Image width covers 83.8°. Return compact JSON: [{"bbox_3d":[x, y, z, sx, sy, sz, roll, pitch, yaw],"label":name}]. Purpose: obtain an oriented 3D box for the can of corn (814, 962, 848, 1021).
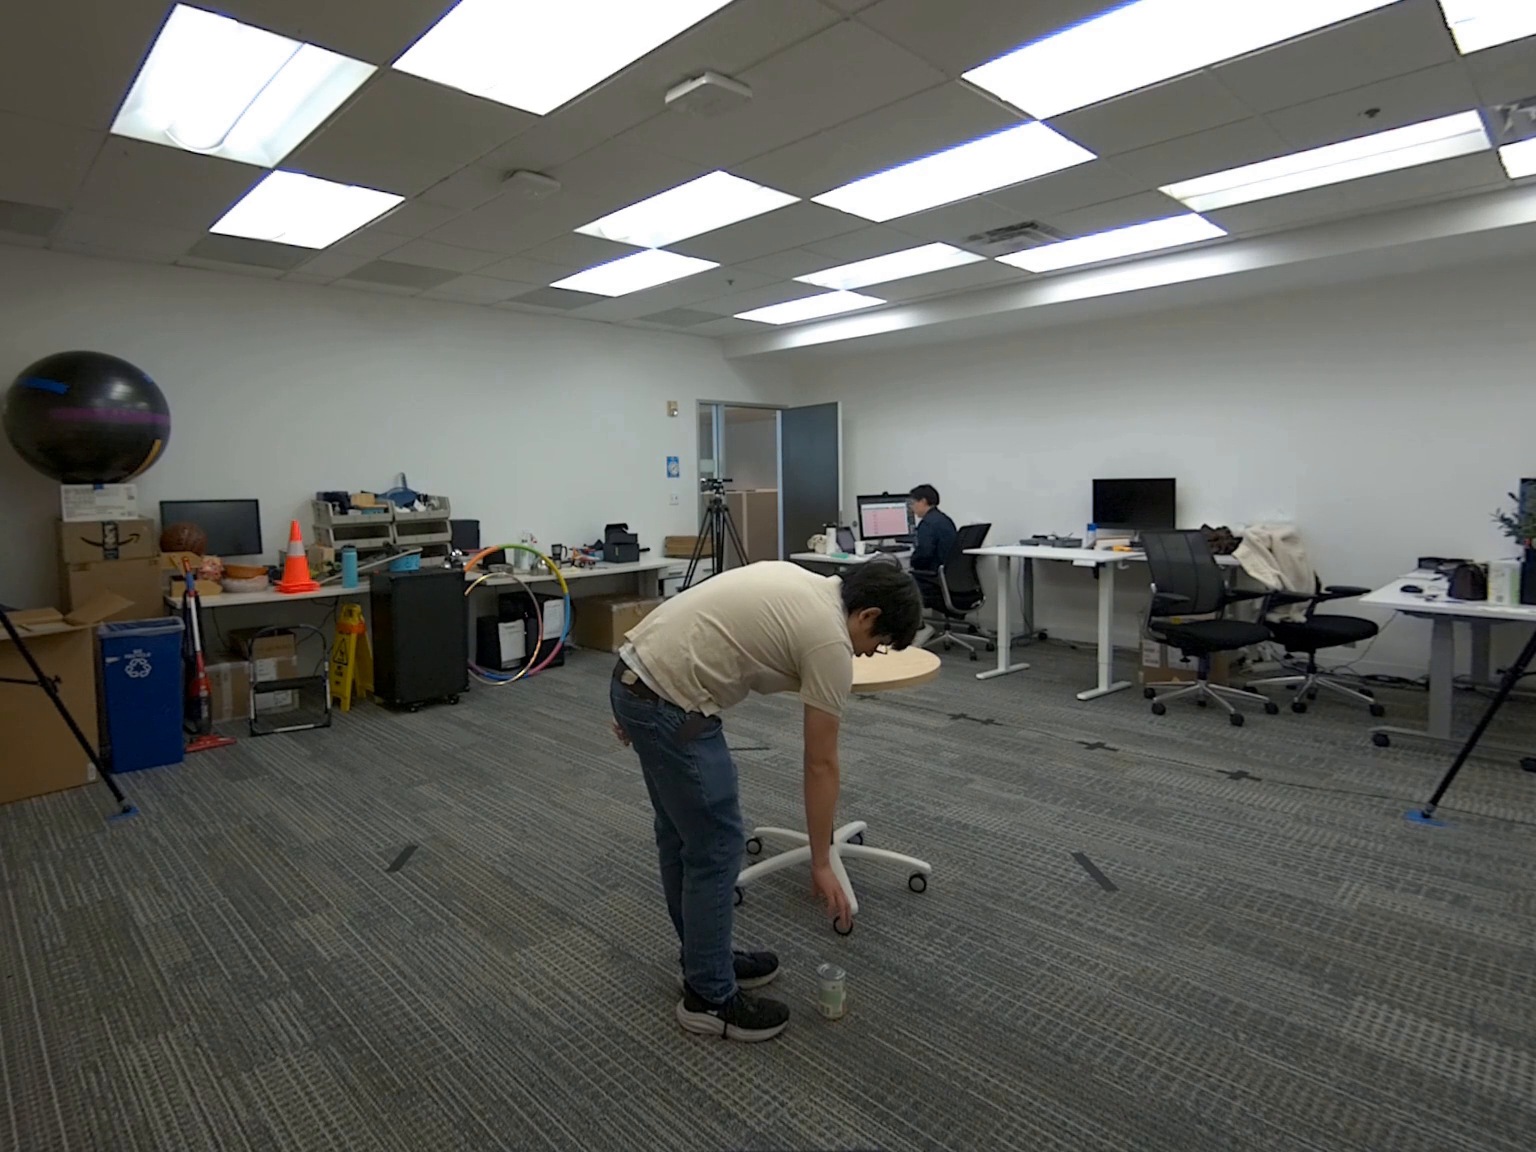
[{"bbox_3d":[0.167,1.080,2.236,0.074,0.110,0.075,-2,7,-1],"label":"can of corn"}]
